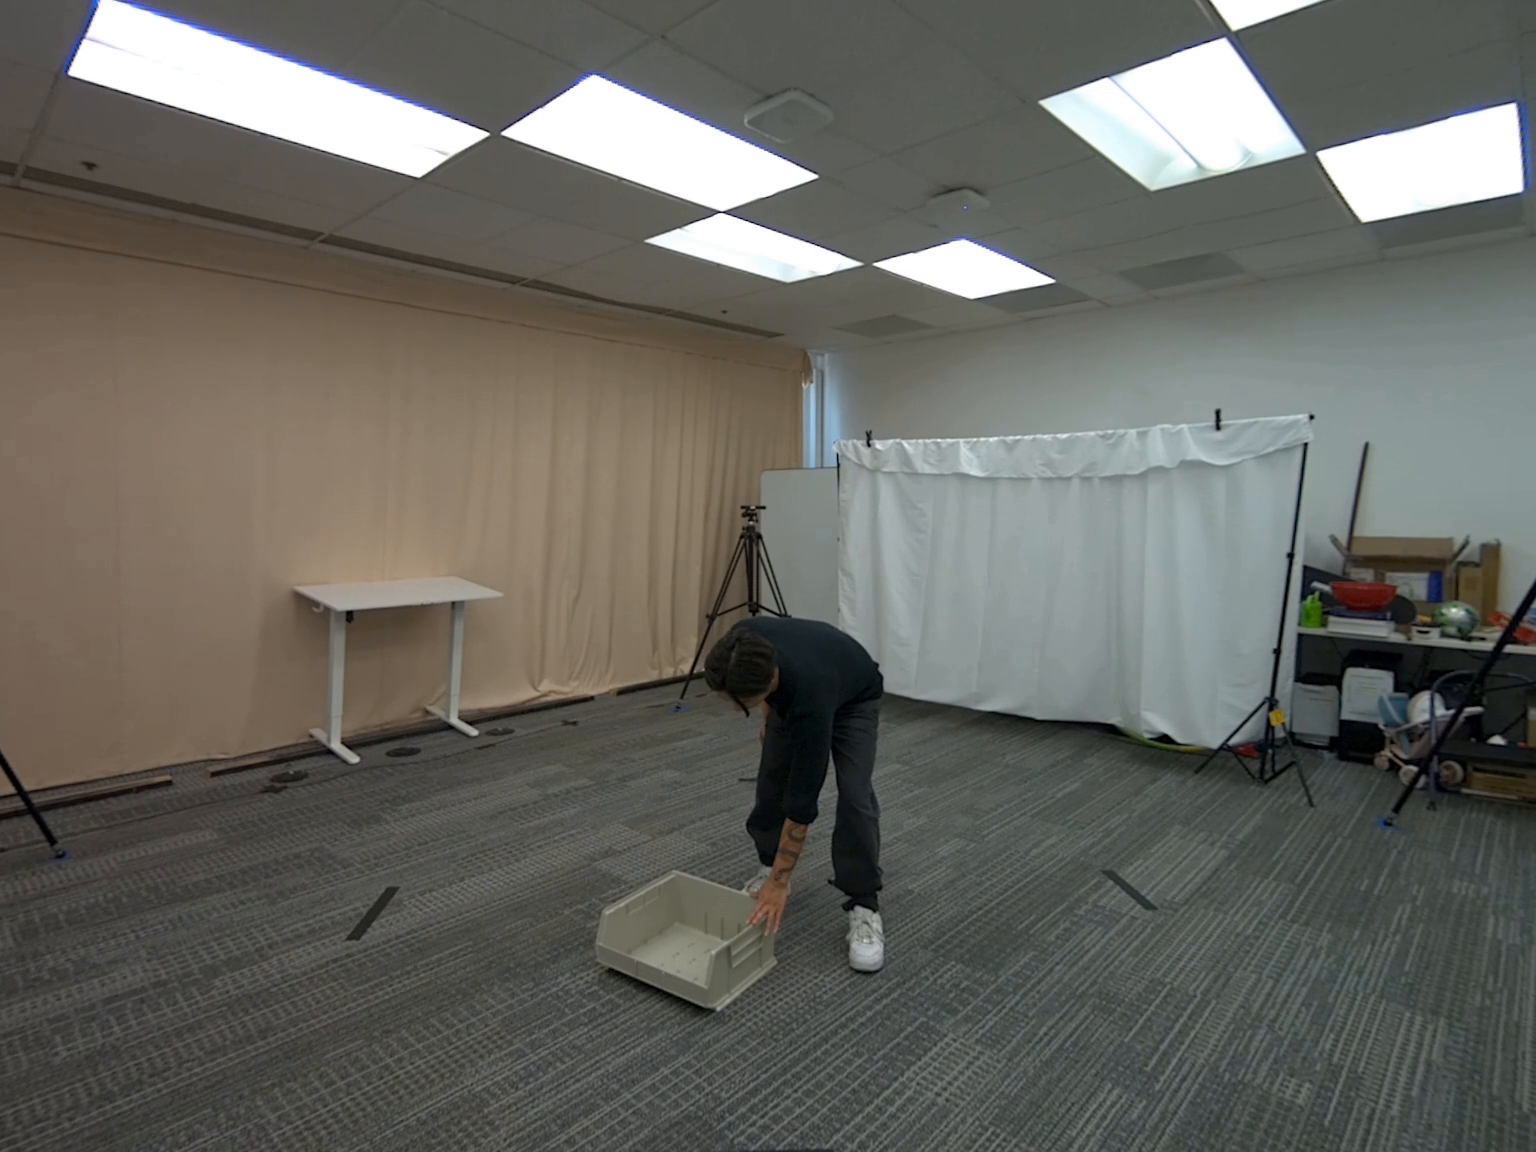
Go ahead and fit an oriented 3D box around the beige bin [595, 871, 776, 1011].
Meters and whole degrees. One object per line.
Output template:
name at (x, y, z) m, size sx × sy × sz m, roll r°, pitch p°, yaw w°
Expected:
beige bin at (-0.240, 1.097, 2.535) m, size 0.435 × 0.188 × 0.366 m, roll 2°, pitch 4°, yaw 34°
